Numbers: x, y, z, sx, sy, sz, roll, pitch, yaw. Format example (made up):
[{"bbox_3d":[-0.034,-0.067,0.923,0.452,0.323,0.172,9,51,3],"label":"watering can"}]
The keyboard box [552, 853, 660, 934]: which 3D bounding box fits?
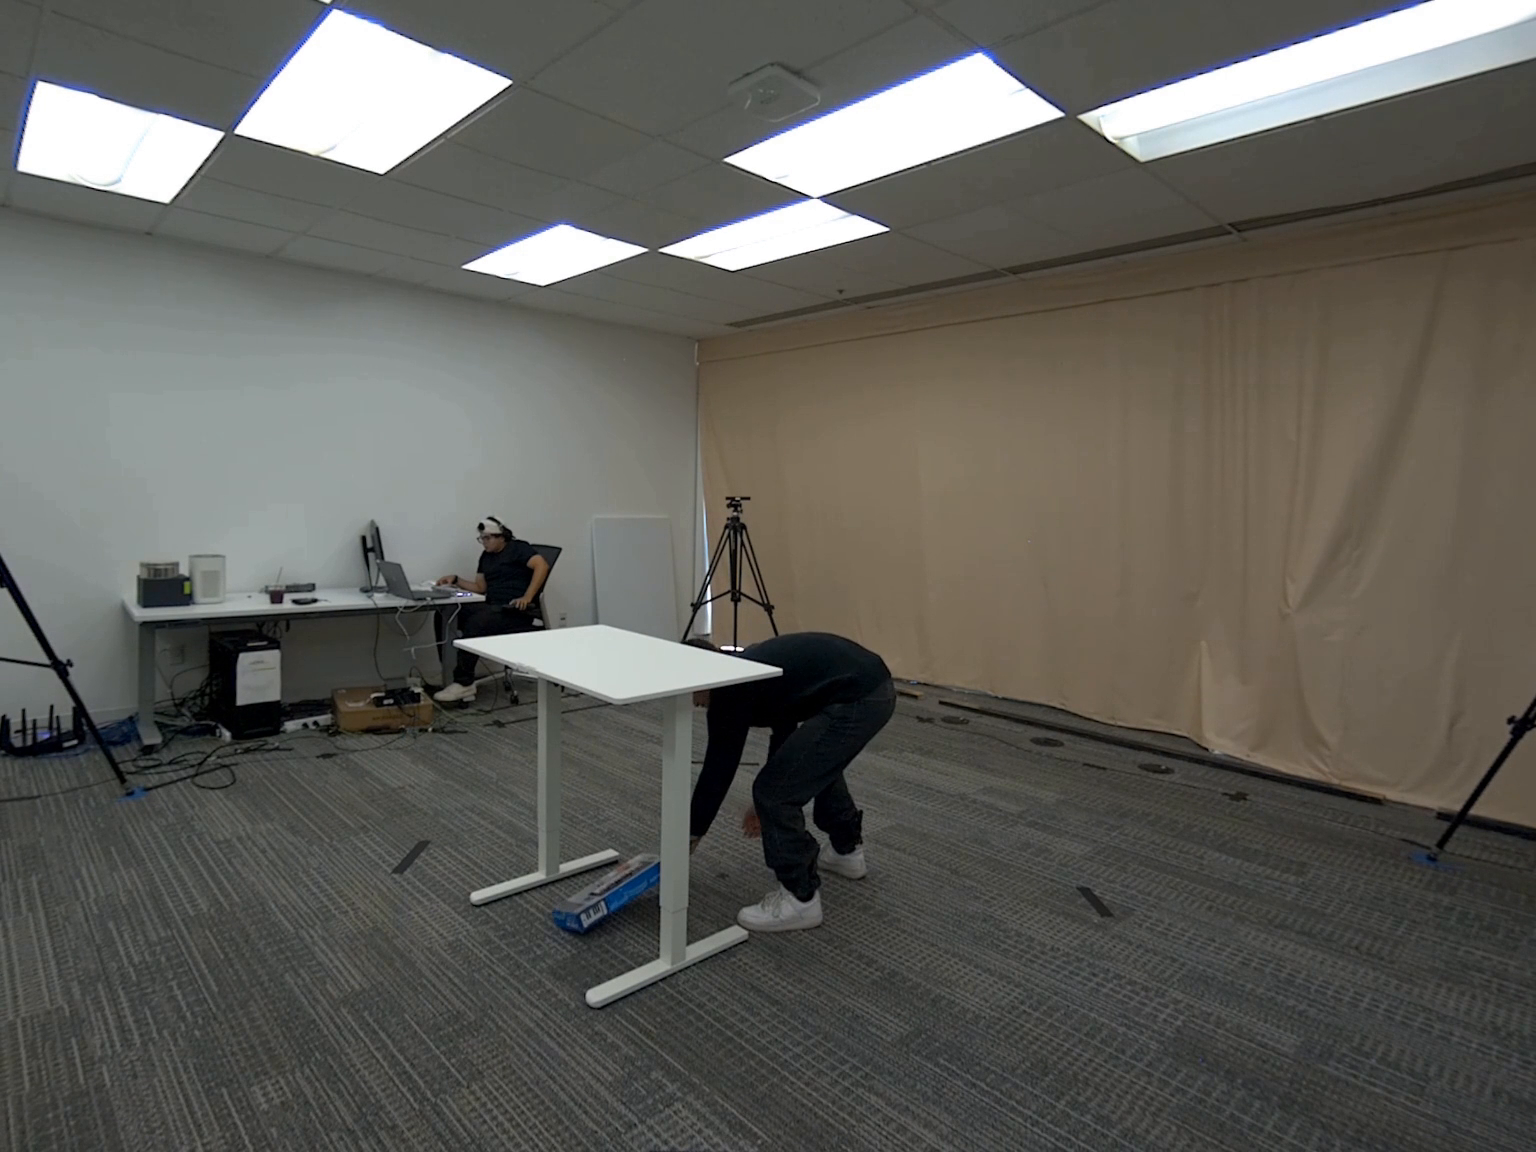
[{"bbox_3d":[-0.497,1.031,2.797,0.430,0.059,0.179,-20,3,-42],"label":"keyboard box"}]
